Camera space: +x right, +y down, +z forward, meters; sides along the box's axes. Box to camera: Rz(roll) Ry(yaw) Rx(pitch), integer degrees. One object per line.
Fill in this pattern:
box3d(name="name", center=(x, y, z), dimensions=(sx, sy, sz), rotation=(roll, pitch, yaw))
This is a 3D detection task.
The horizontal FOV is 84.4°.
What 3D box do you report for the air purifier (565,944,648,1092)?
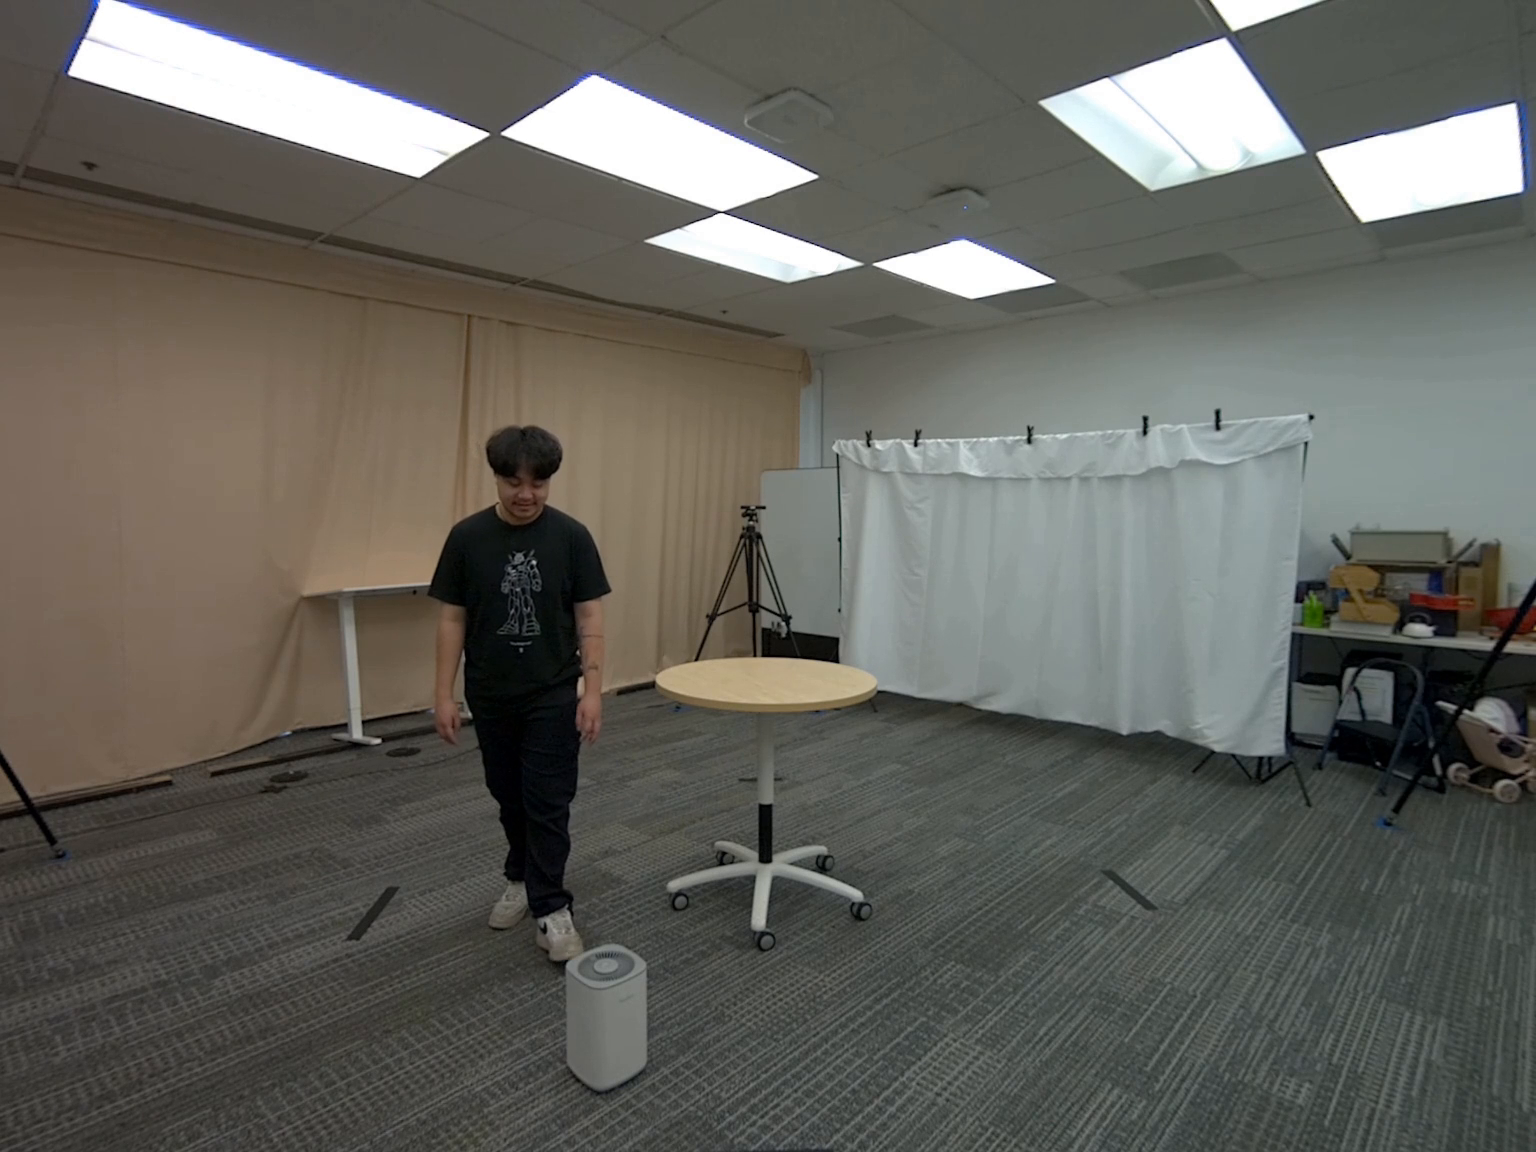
box3d(name="air purifier", center=(-0.395, 1.090, 2.072), dimensions=(0.177, 0.265, 0.166), rotation=(3, 4, 44))
